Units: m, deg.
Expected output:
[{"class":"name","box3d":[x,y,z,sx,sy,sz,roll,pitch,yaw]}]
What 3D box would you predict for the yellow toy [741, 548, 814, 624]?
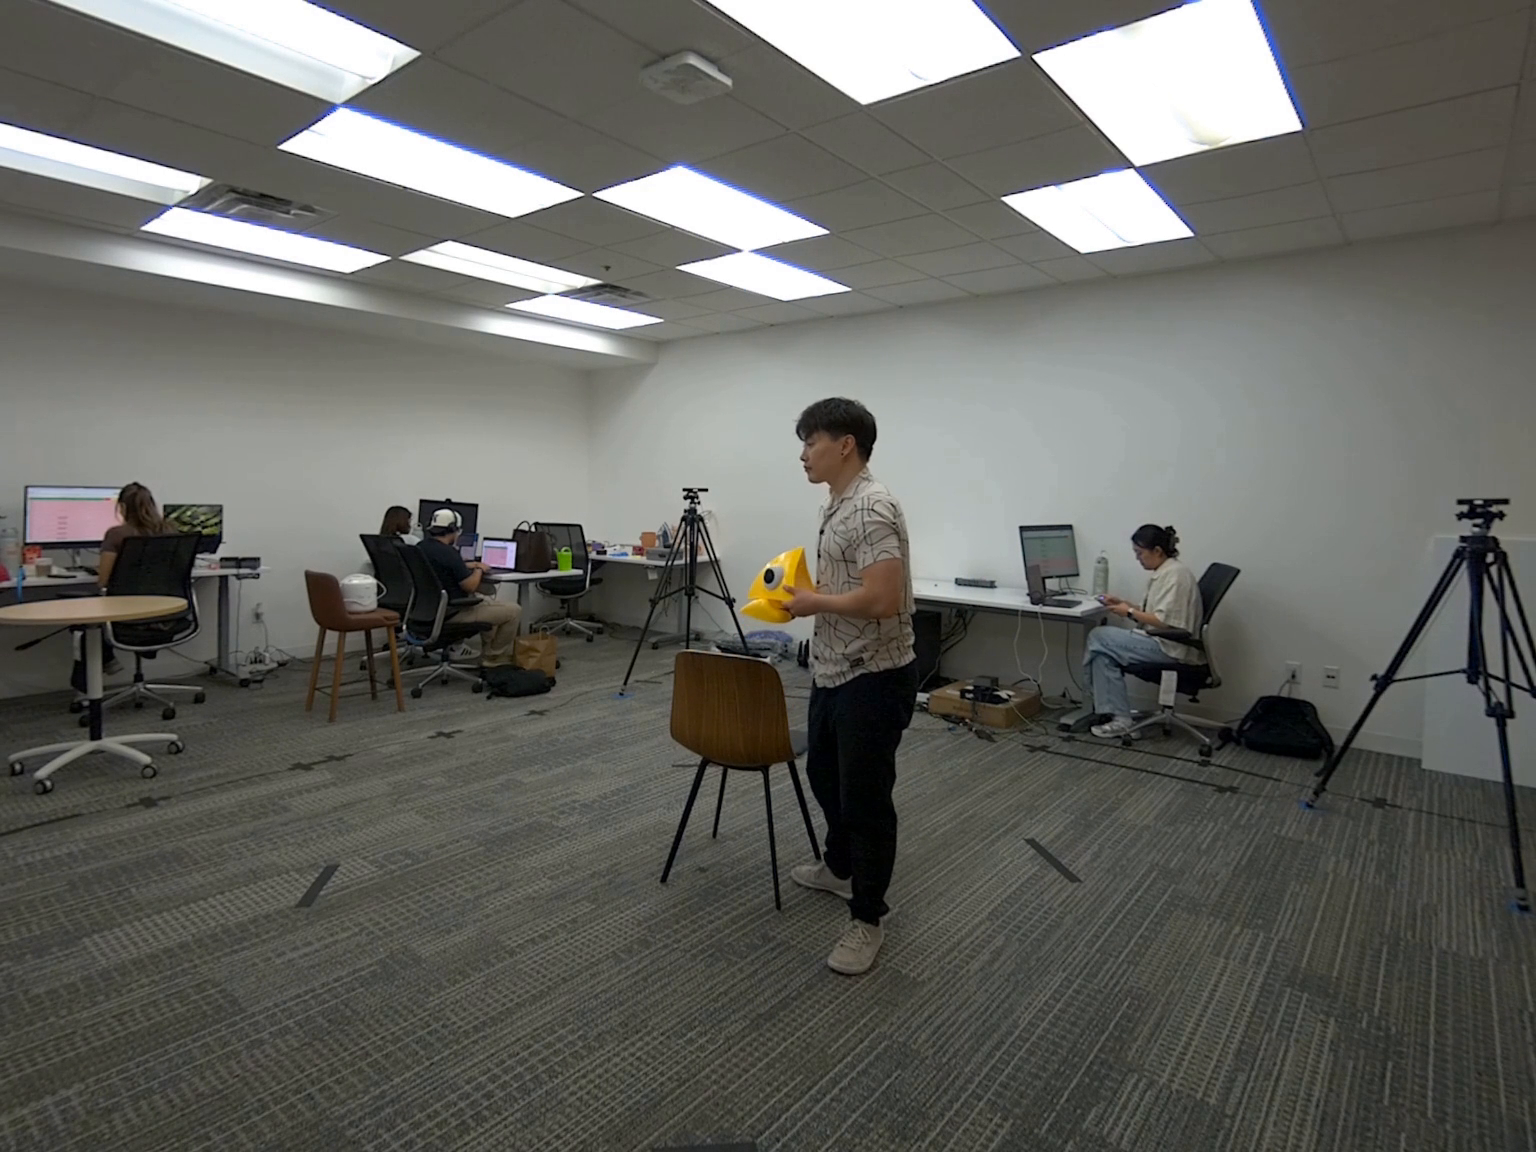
[{"class":"yellow toy","box3d":[0.029,0.008,2.657,0.198,0.228,0.201,14,13,20]}]
